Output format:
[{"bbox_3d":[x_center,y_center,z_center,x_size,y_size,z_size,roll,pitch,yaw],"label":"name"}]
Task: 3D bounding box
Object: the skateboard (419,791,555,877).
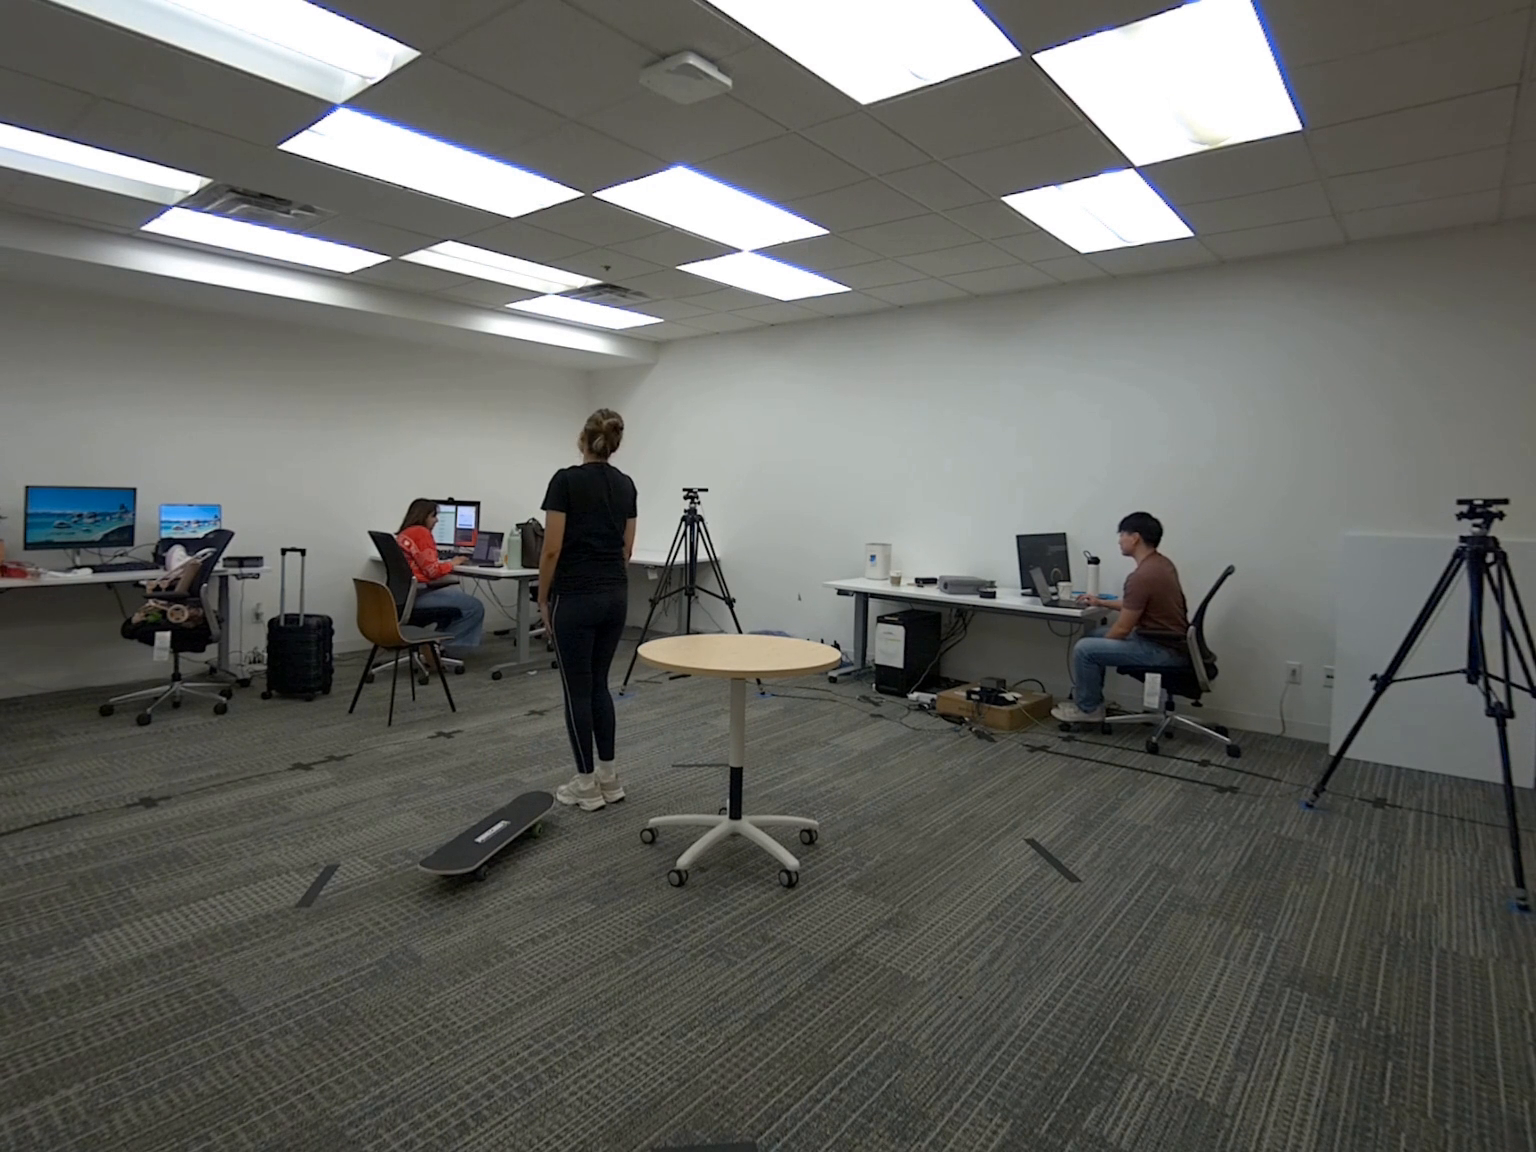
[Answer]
[{"bbox_3d":[-1.049,0.993,3.203,0.196,0.110,0.776,3,6,13],"label":"skateboard"}]
